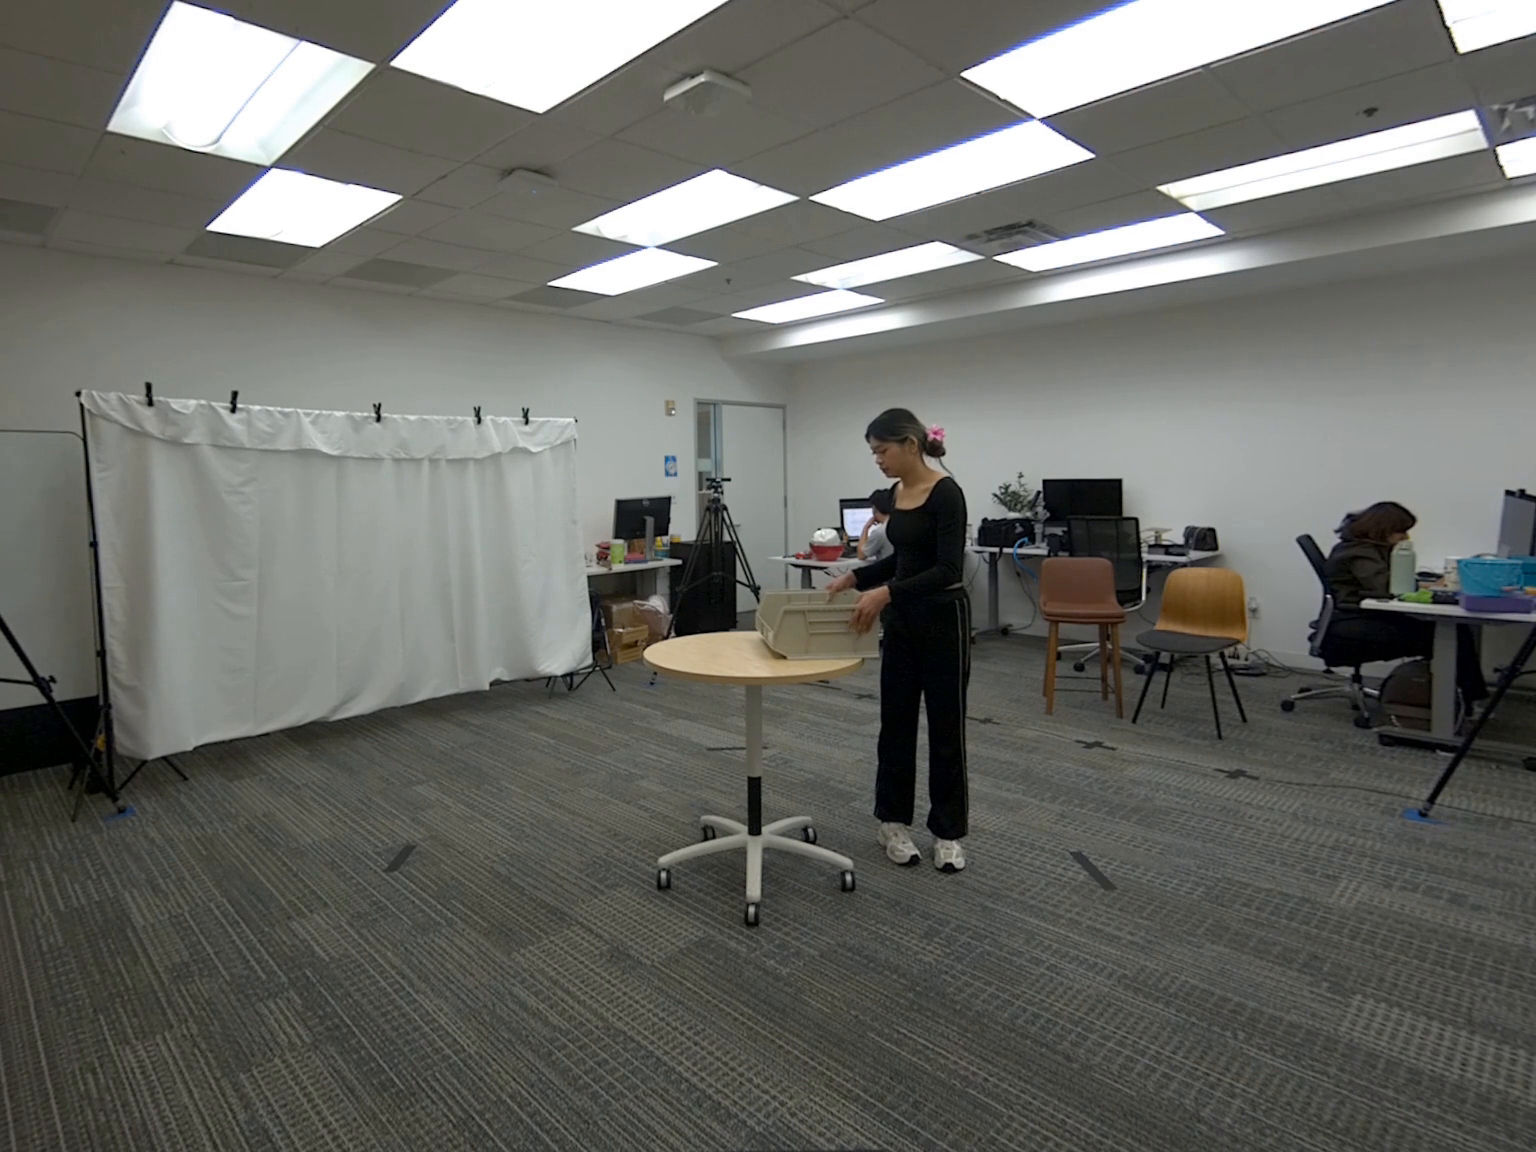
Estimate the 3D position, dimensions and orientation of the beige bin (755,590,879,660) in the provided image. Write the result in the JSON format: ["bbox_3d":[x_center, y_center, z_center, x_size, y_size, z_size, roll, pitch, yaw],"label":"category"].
[{"bbox_3d":[0.163,0.168,3.036,0.376,0.188,0.426,-1,6,-6],"label":"beige bin"}]
